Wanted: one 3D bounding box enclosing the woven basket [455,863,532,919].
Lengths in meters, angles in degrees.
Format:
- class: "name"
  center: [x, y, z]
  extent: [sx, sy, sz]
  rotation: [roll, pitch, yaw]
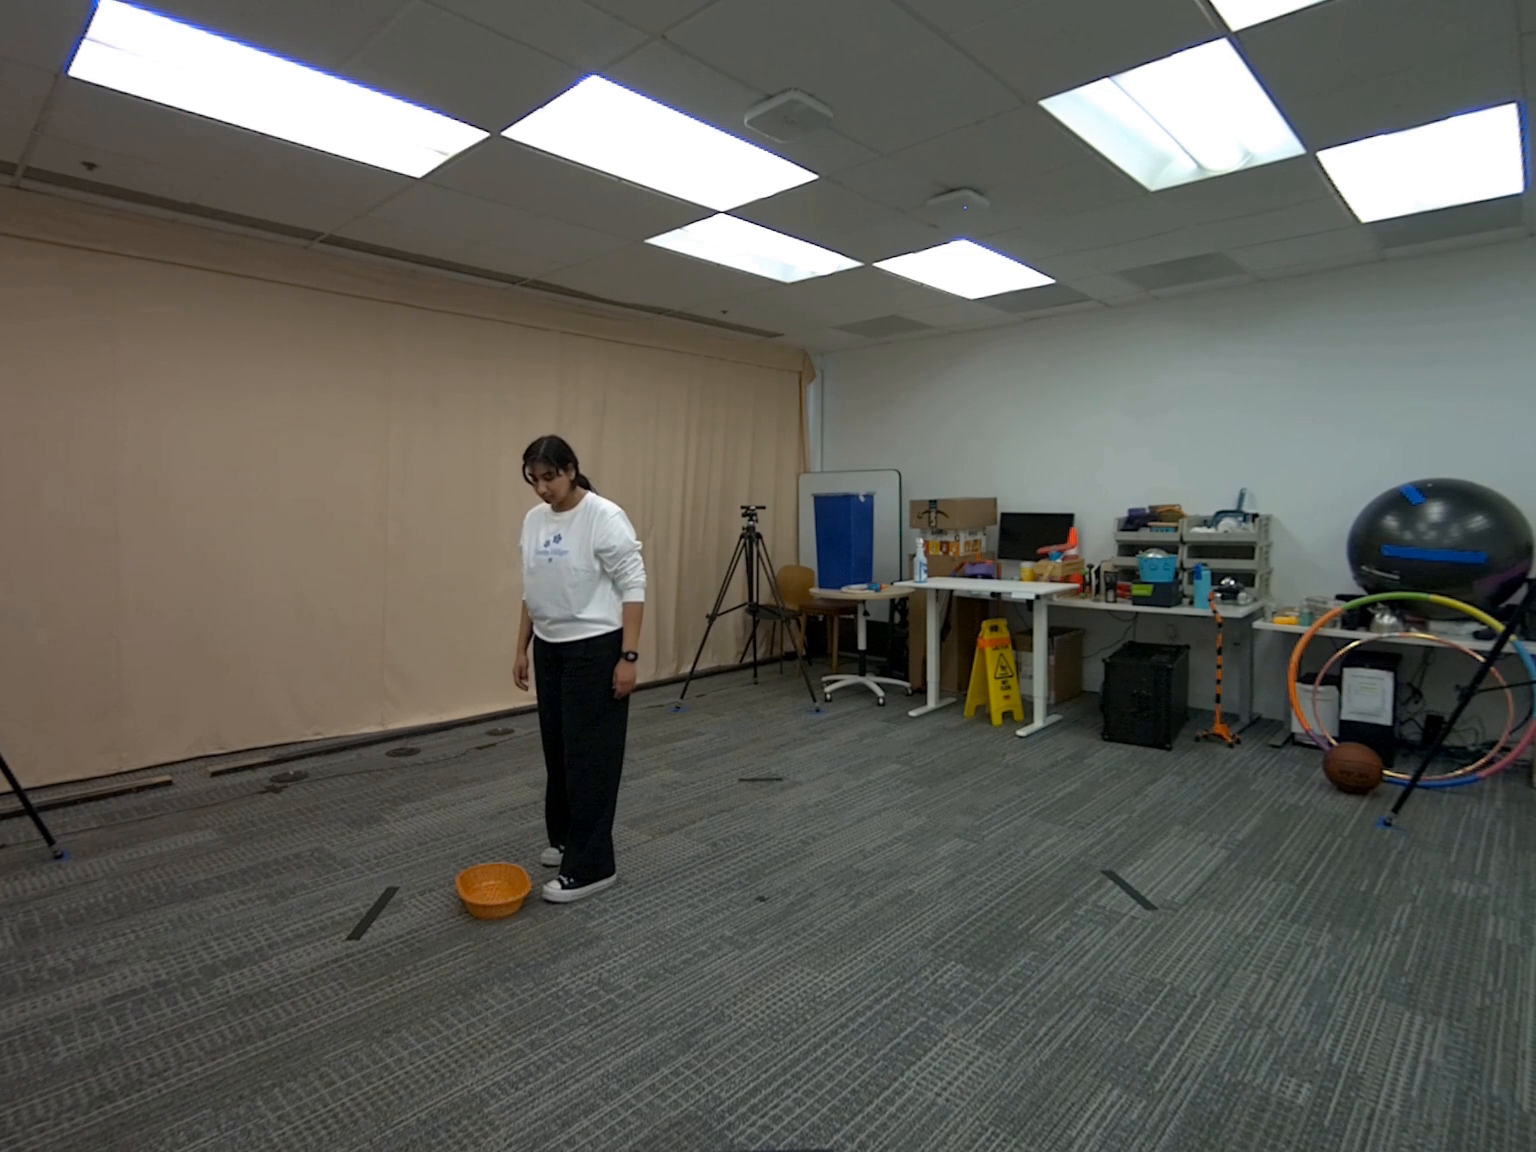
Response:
- class: "woven basket"
  center: [-0.972, 1.116, 2.986]
  extent: [0.246, 0.073, 0.360]
  rotation: [-1, 5, -28]
